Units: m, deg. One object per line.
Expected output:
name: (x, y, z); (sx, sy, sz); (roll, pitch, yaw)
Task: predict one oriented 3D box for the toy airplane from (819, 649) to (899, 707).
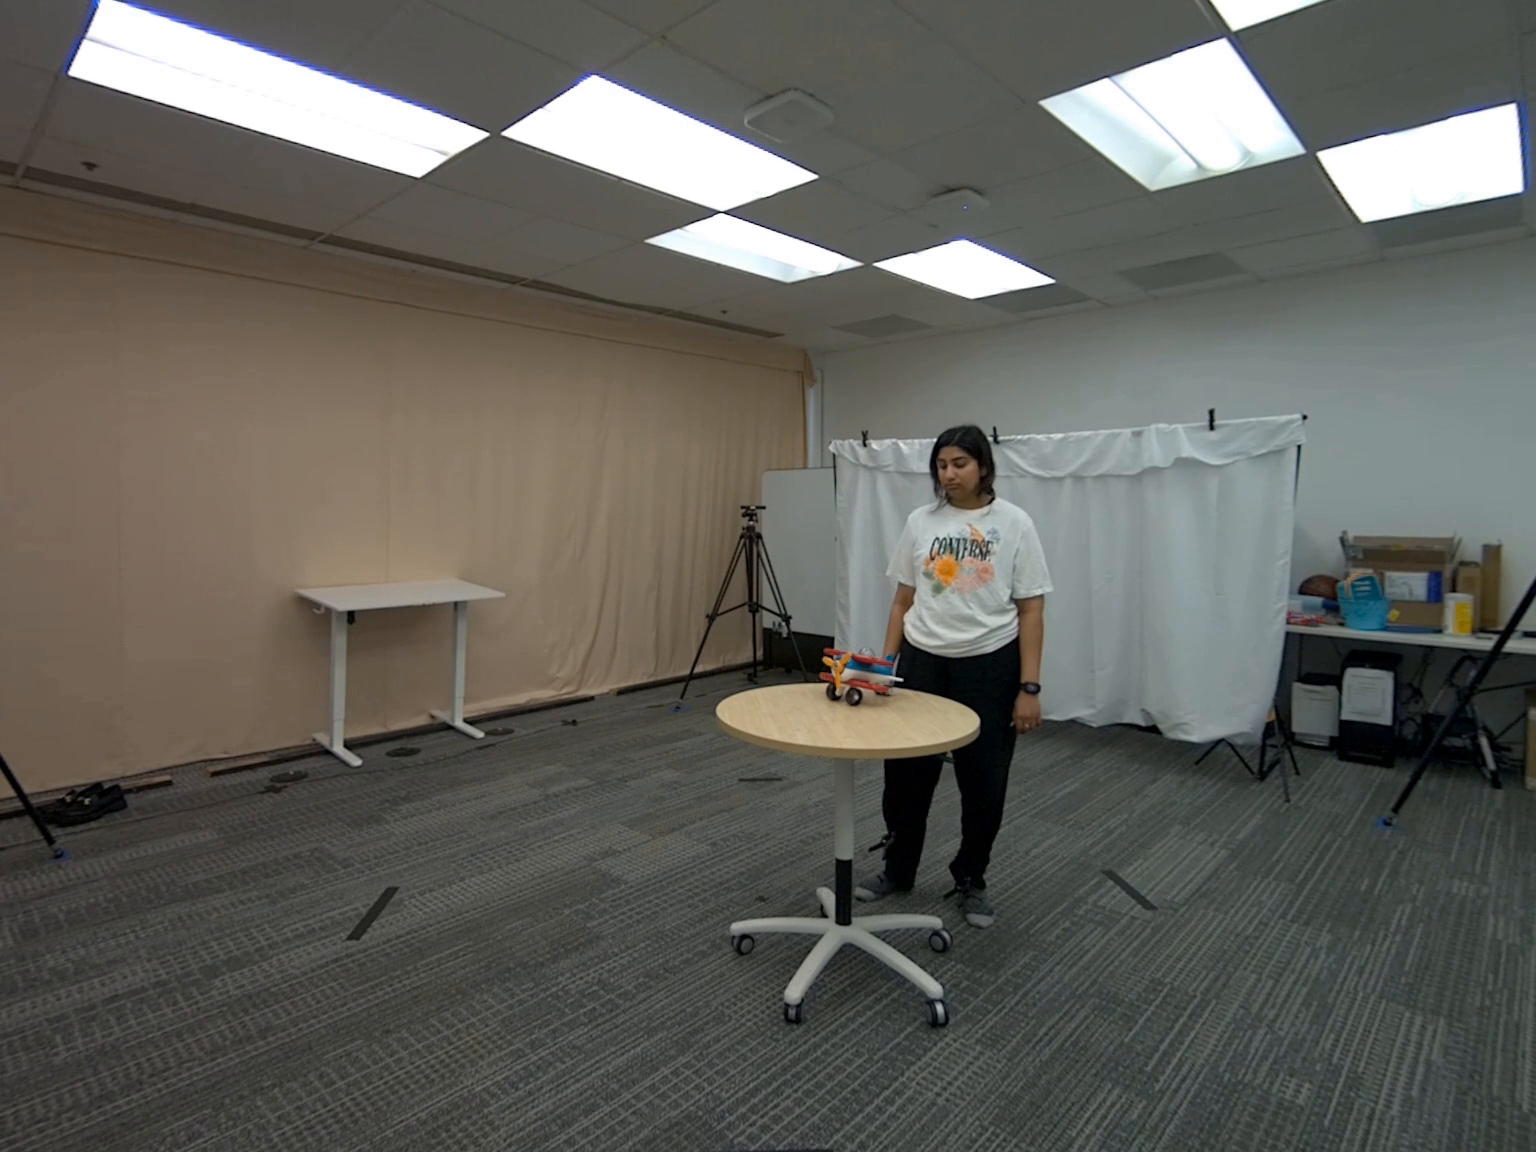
toy airplane: (0.291, 0.311, 2.658); (0.257, 0.156, 0.254); (1, 5, 23)
